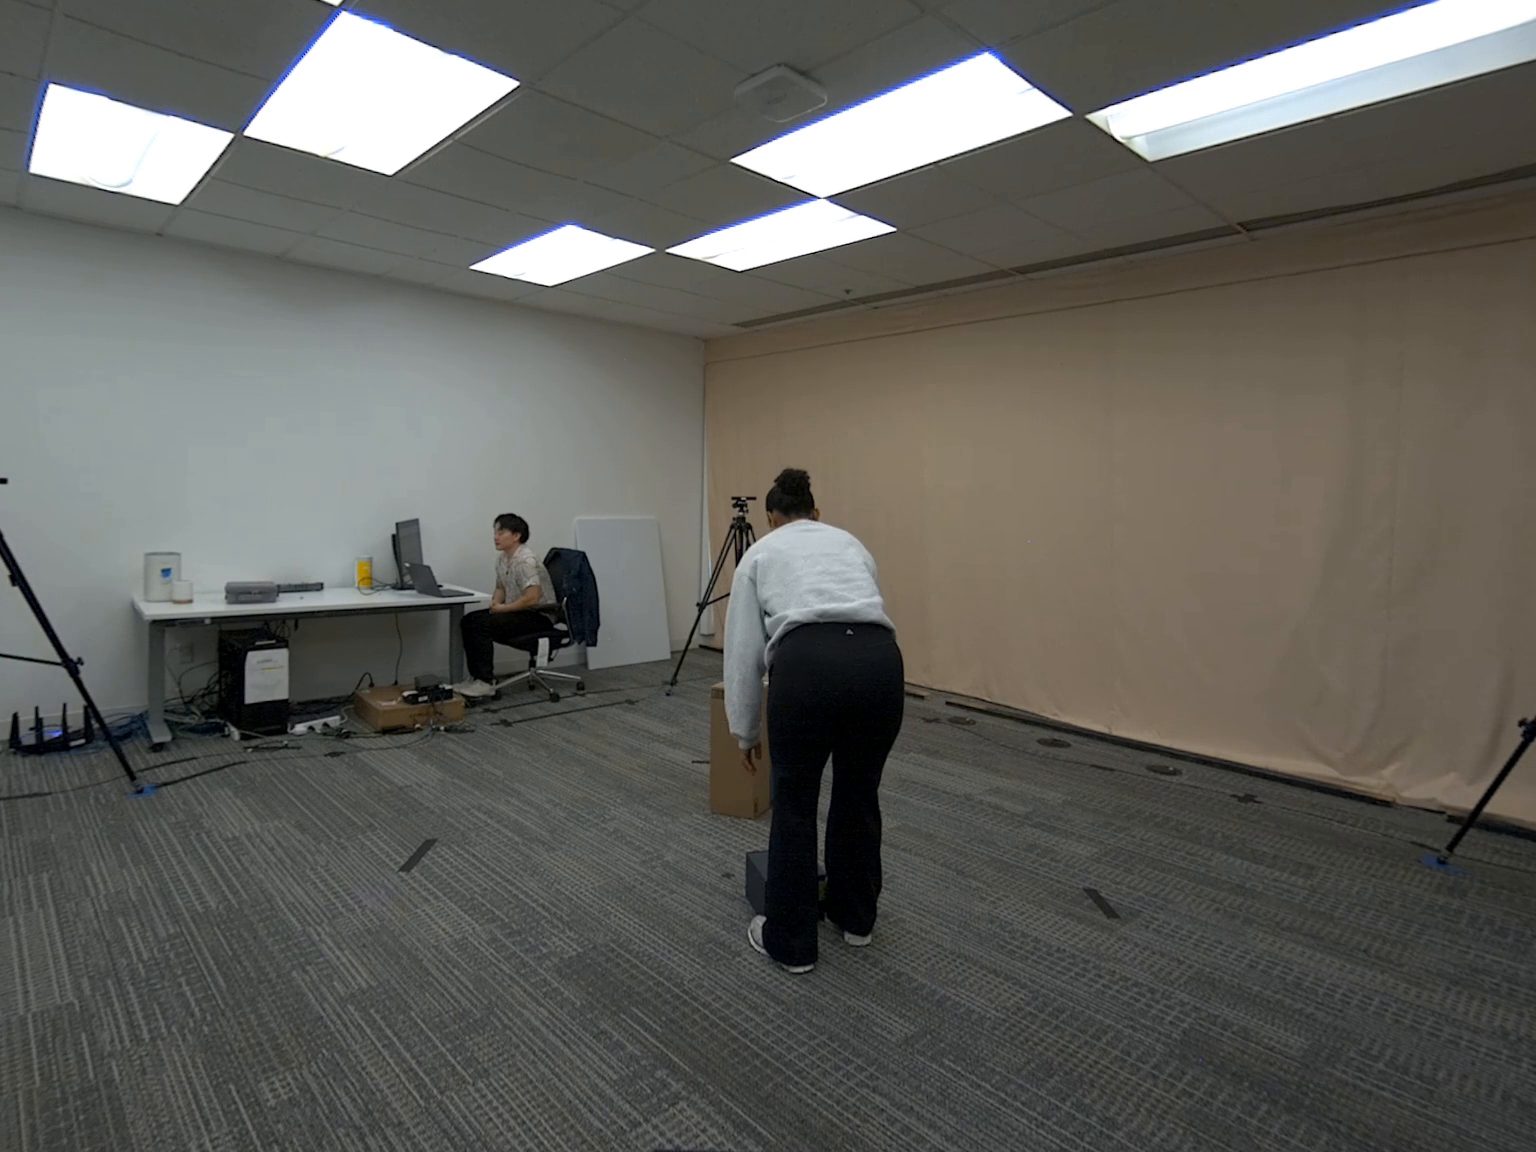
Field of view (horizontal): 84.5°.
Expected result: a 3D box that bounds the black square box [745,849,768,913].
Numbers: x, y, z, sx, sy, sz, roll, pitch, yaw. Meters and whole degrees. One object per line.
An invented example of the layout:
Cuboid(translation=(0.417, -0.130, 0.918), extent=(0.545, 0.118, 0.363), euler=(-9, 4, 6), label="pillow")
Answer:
Cuboid(translation=(0.049, 1.055, 2.861), extent=(0.214, 0.155, 0.231), euler=(1, 5, -17), label="black square box")
